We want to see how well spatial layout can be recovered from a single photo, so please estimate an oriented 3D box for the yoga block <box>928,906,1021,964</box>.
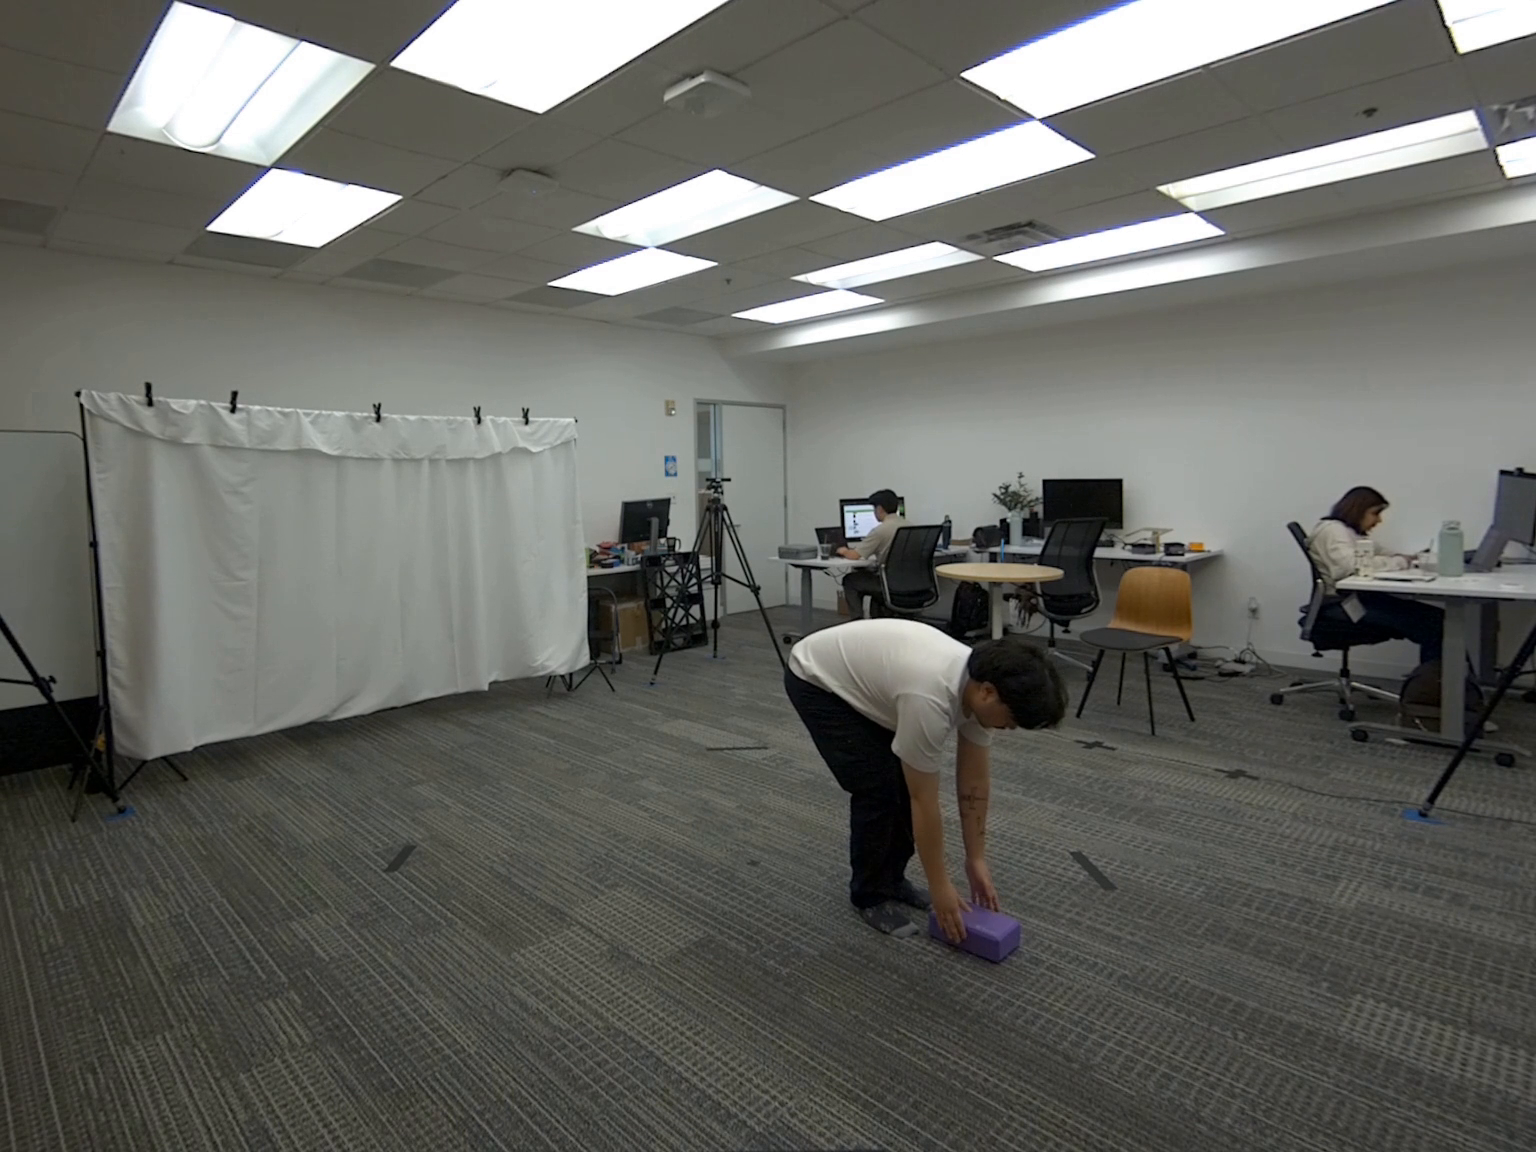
[{"bbox_3d":[0.614,1.048,2.560,0.236,0.076,0.145,6,7,43],"label":"yoga block"}]
